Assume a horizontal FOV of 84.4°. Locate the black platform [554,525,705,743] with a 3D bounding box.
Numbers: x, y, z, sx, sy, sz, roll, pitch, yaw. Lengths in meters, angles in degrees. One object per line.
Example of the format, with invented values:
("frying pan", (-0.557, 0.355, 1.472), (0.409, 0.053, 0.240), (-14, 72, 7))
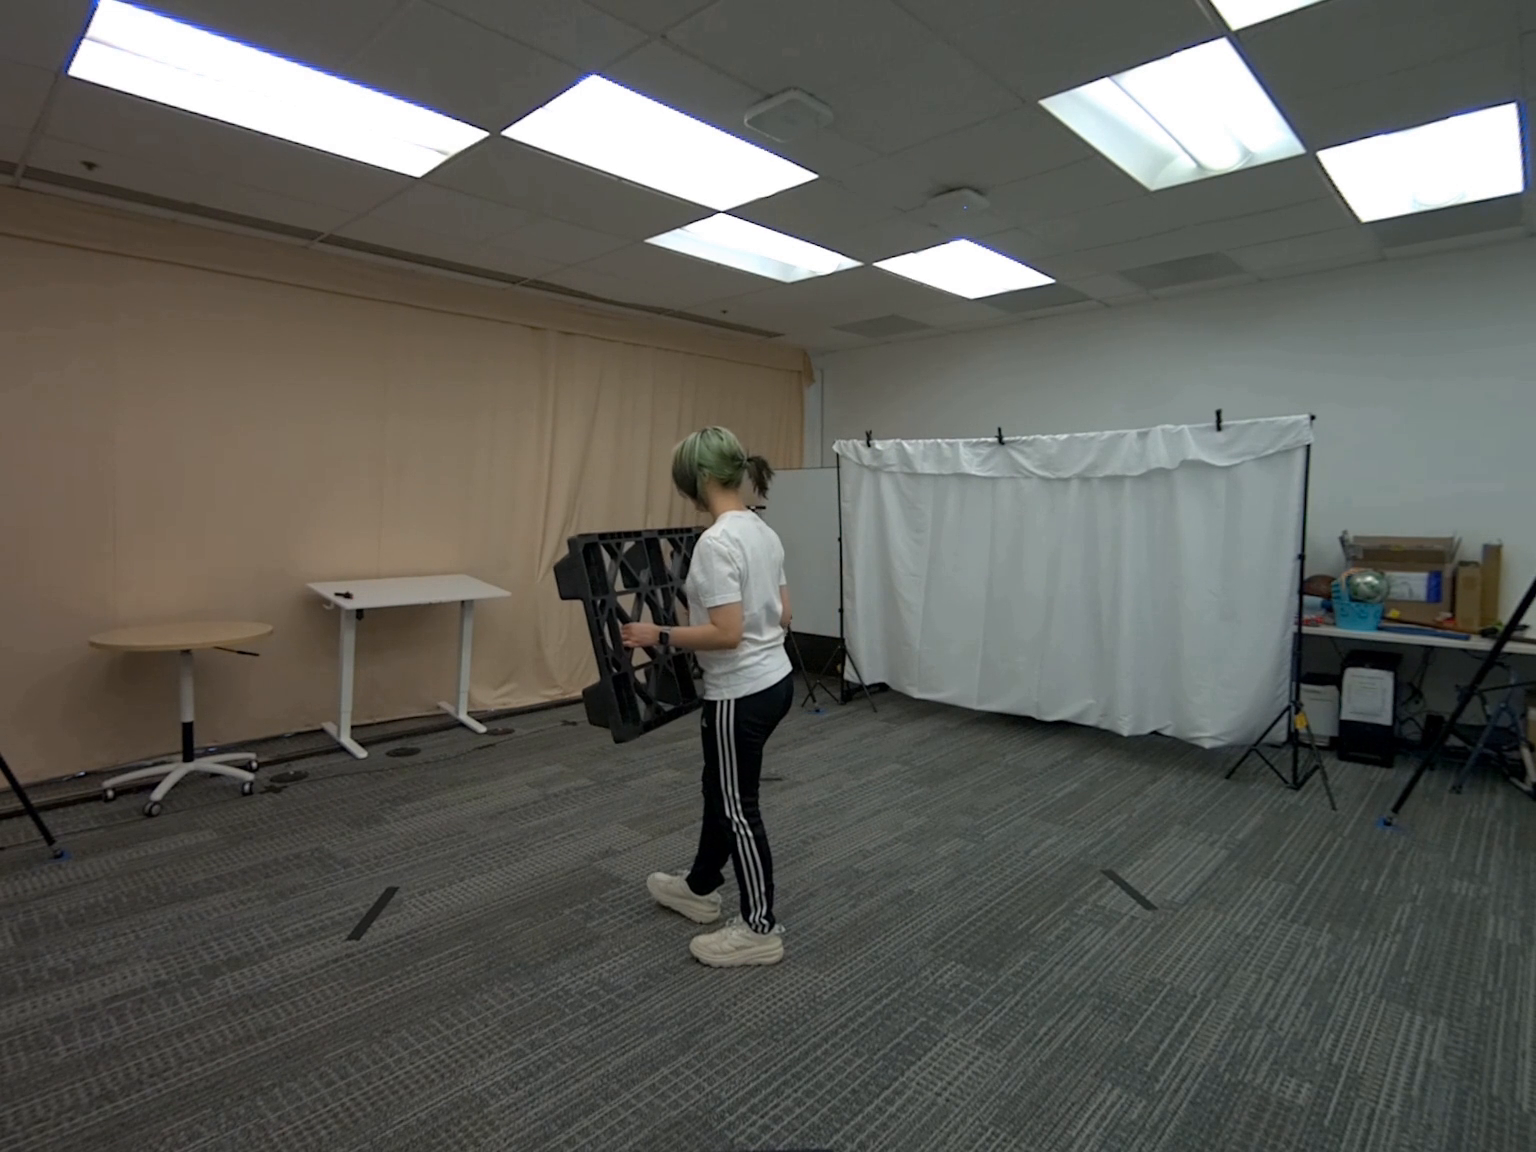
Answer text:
("black platform", (-0.361, 0.160, 2.728), (0.146, 0.607, 0.787), (-15, -3, 24))
